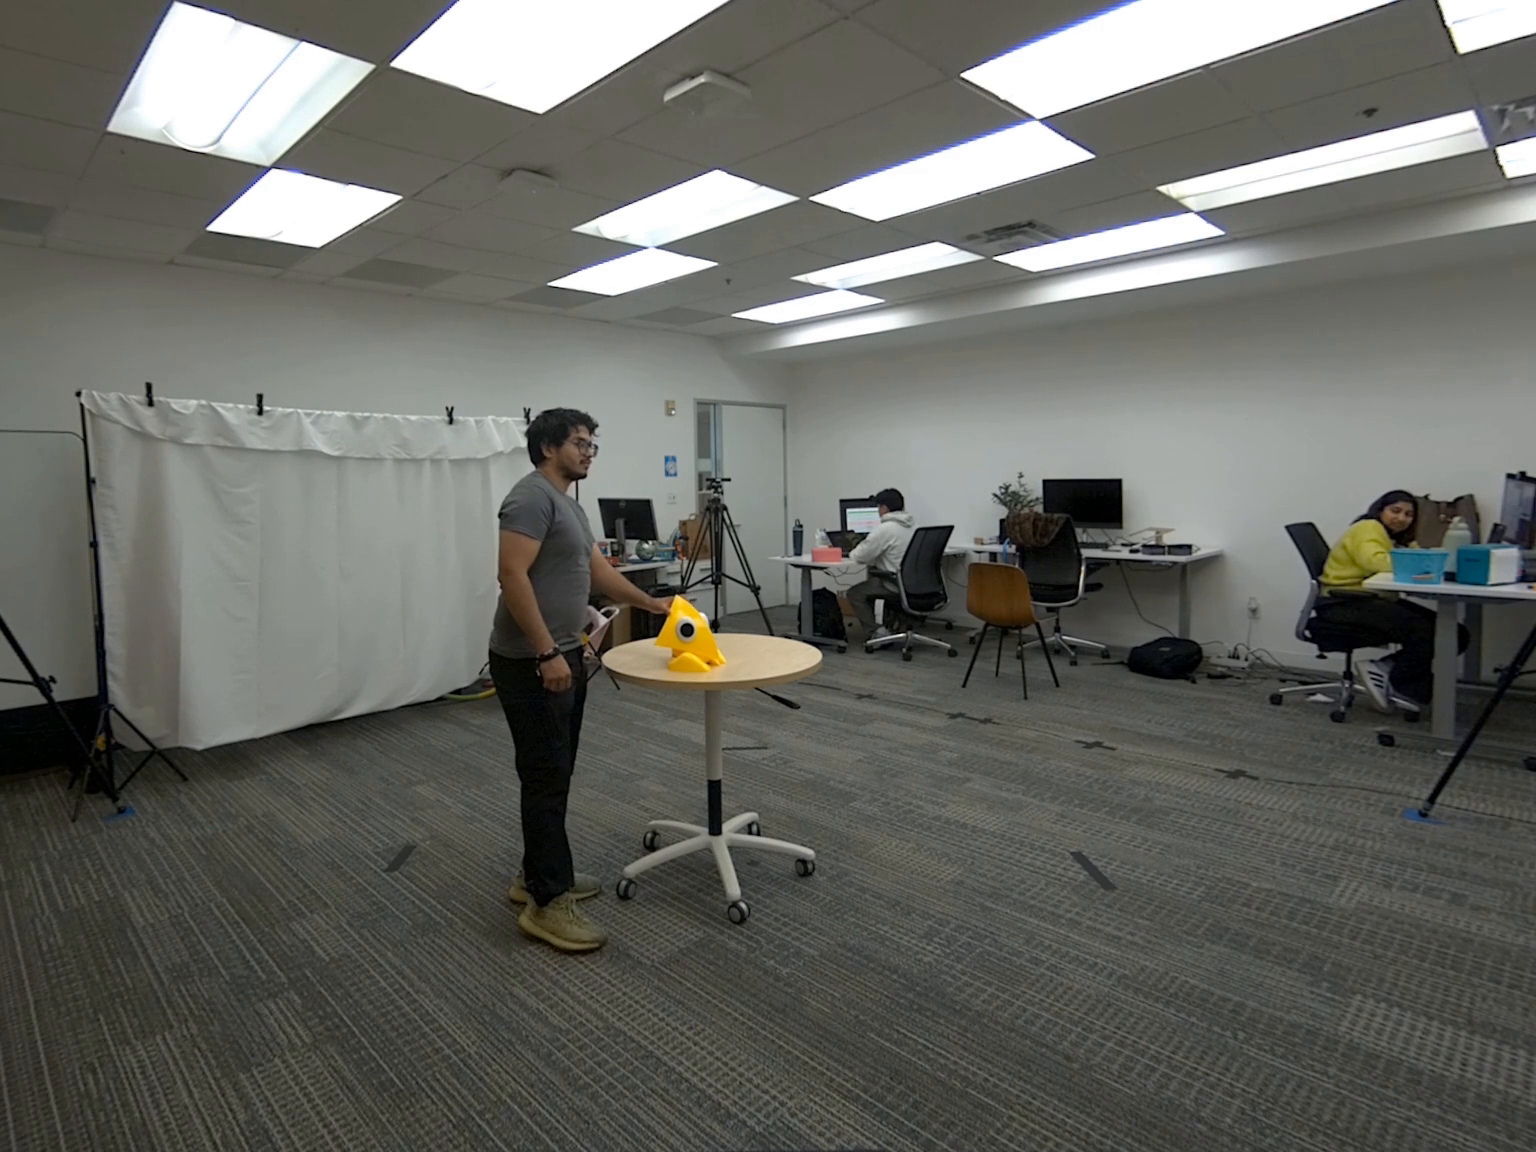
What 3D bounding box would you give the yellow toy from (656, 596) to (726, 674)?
[{"bbox_3d":[-0.247,0.181,2.829,0.197,0.229,0.201,2,7,23],"label":"yellow toy"}]
